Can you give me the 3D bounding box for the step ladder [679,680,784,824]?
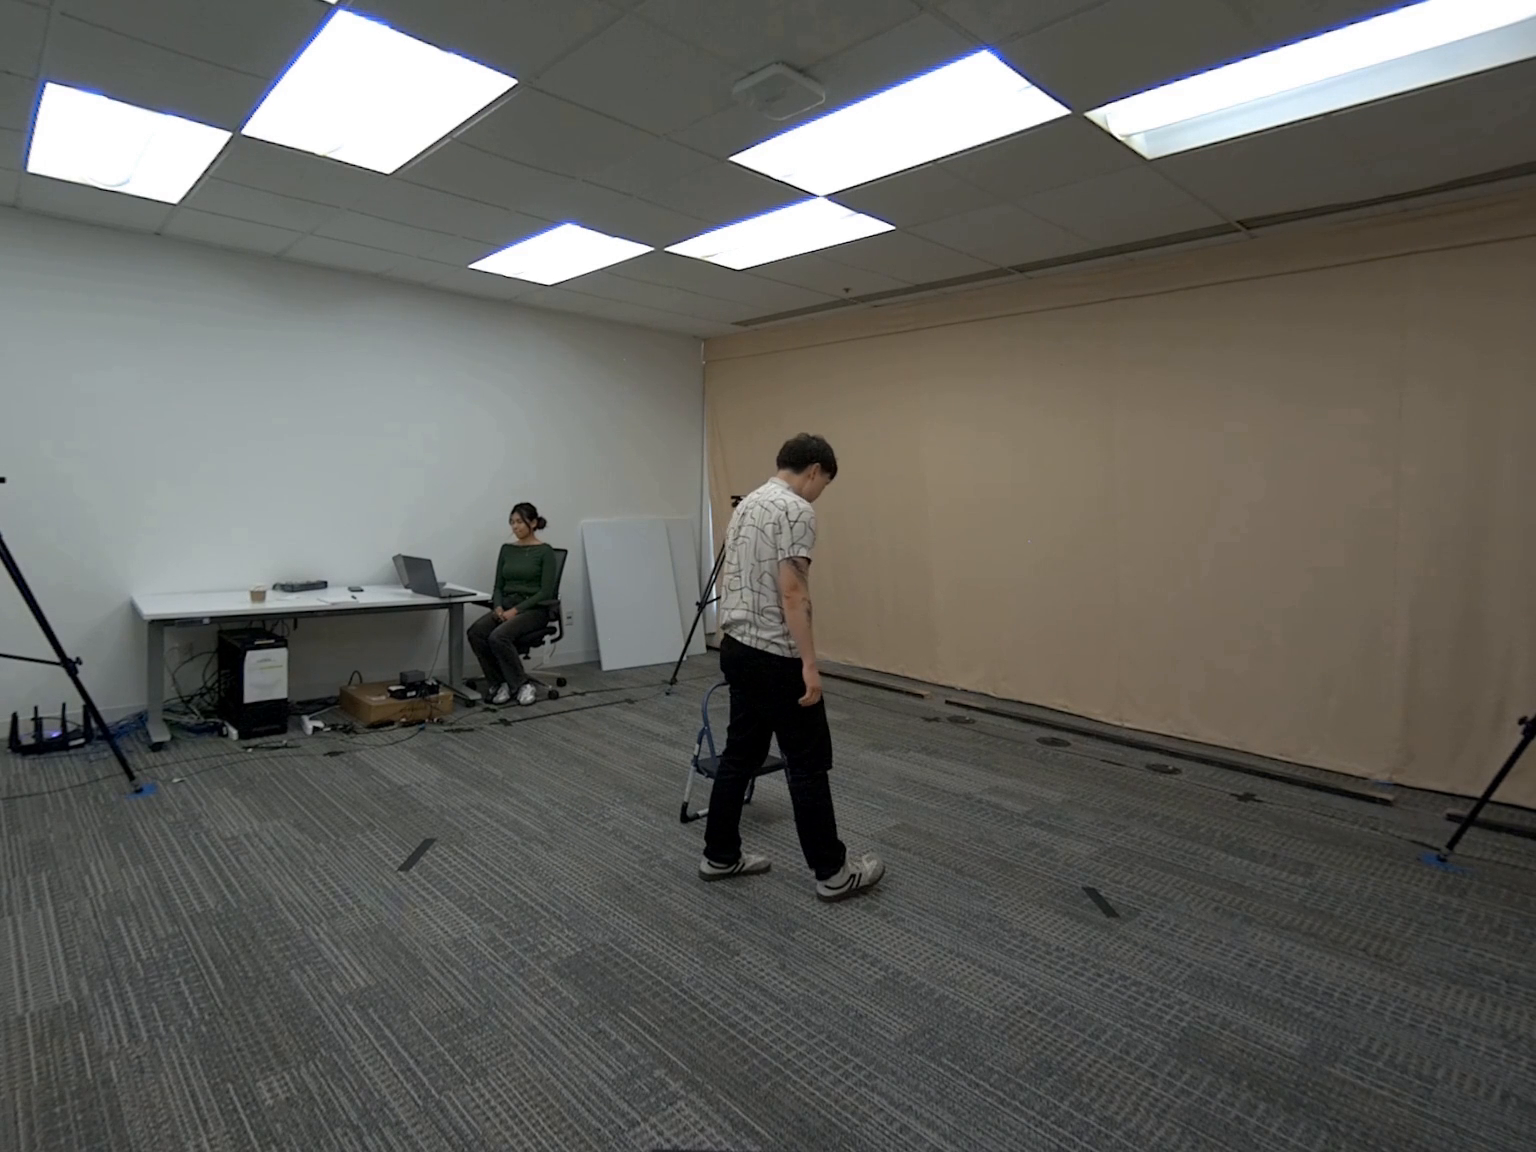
[{"bbox_3d":[-0.113,0.756,3.600,0.358,0.605,0.420,4,4,44],"label":"step ladder"}]
